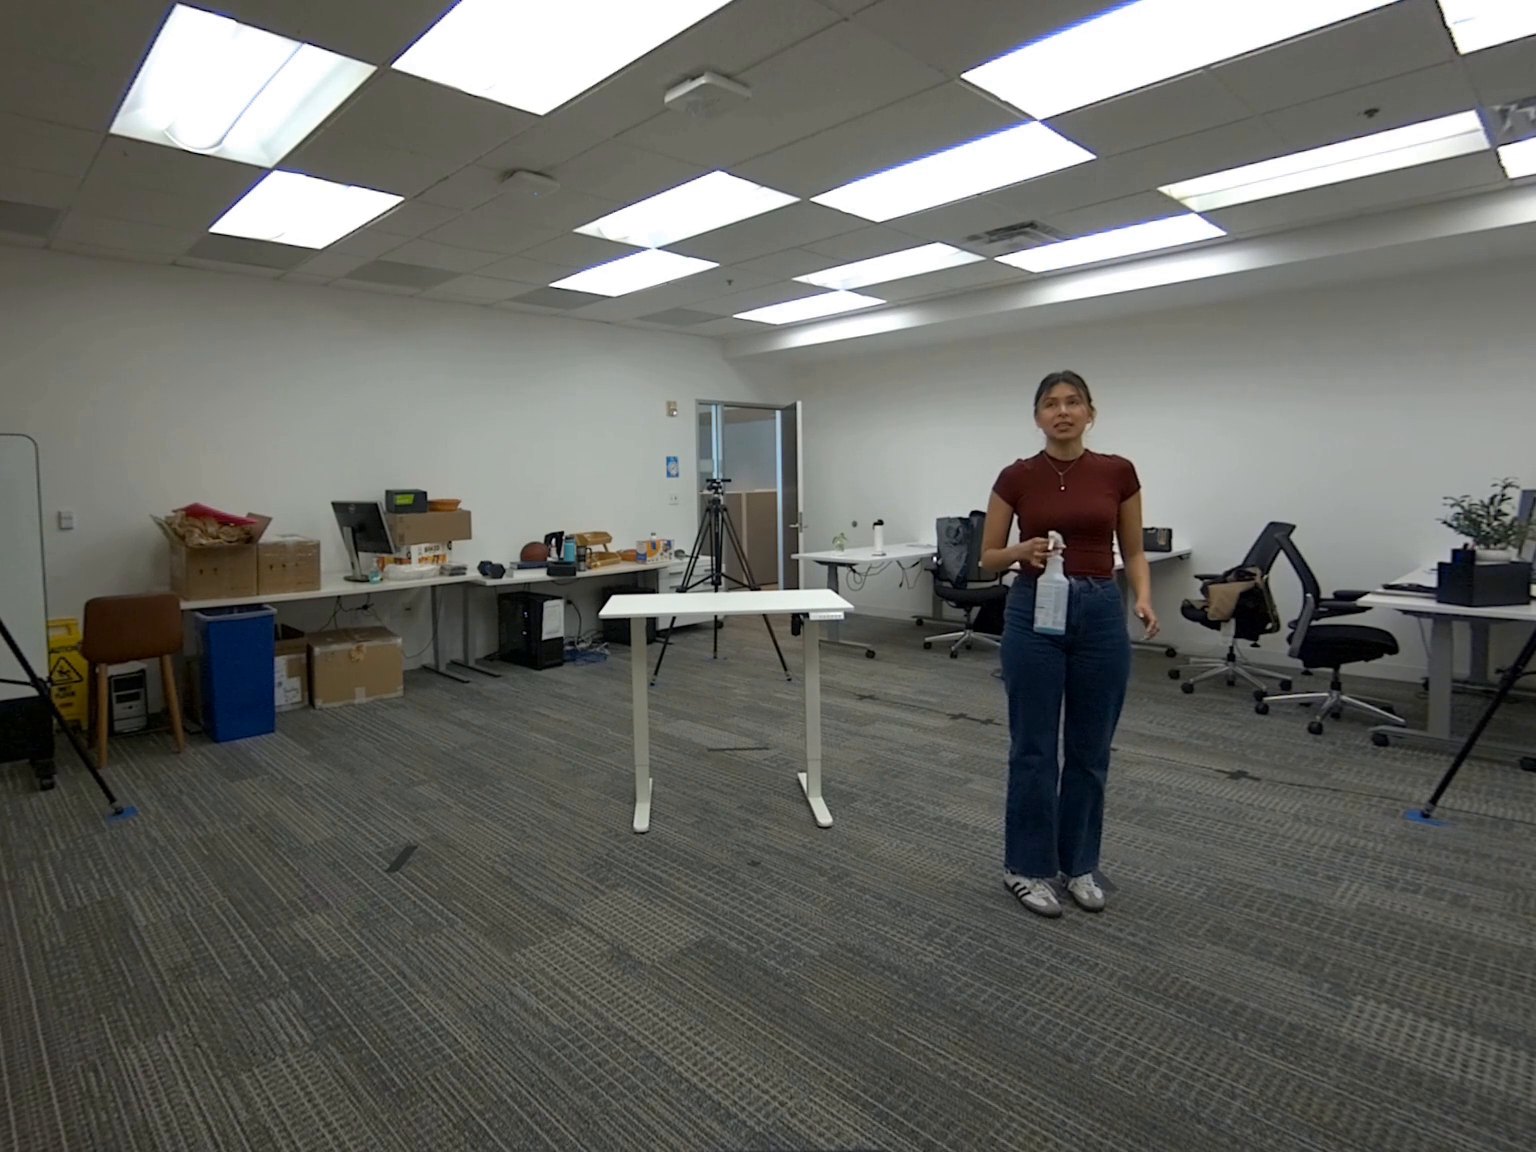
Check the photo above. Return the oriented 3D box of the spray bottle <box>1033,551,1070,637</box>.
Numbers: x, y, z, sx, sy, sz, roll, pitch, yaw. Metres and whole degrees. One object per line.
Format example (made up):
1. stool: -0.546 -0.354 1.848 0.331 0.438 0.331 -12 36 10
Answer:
1. spray bottle: 0.850 0.028 2.509 0.088 0.298 0.089 6 -4 -23
